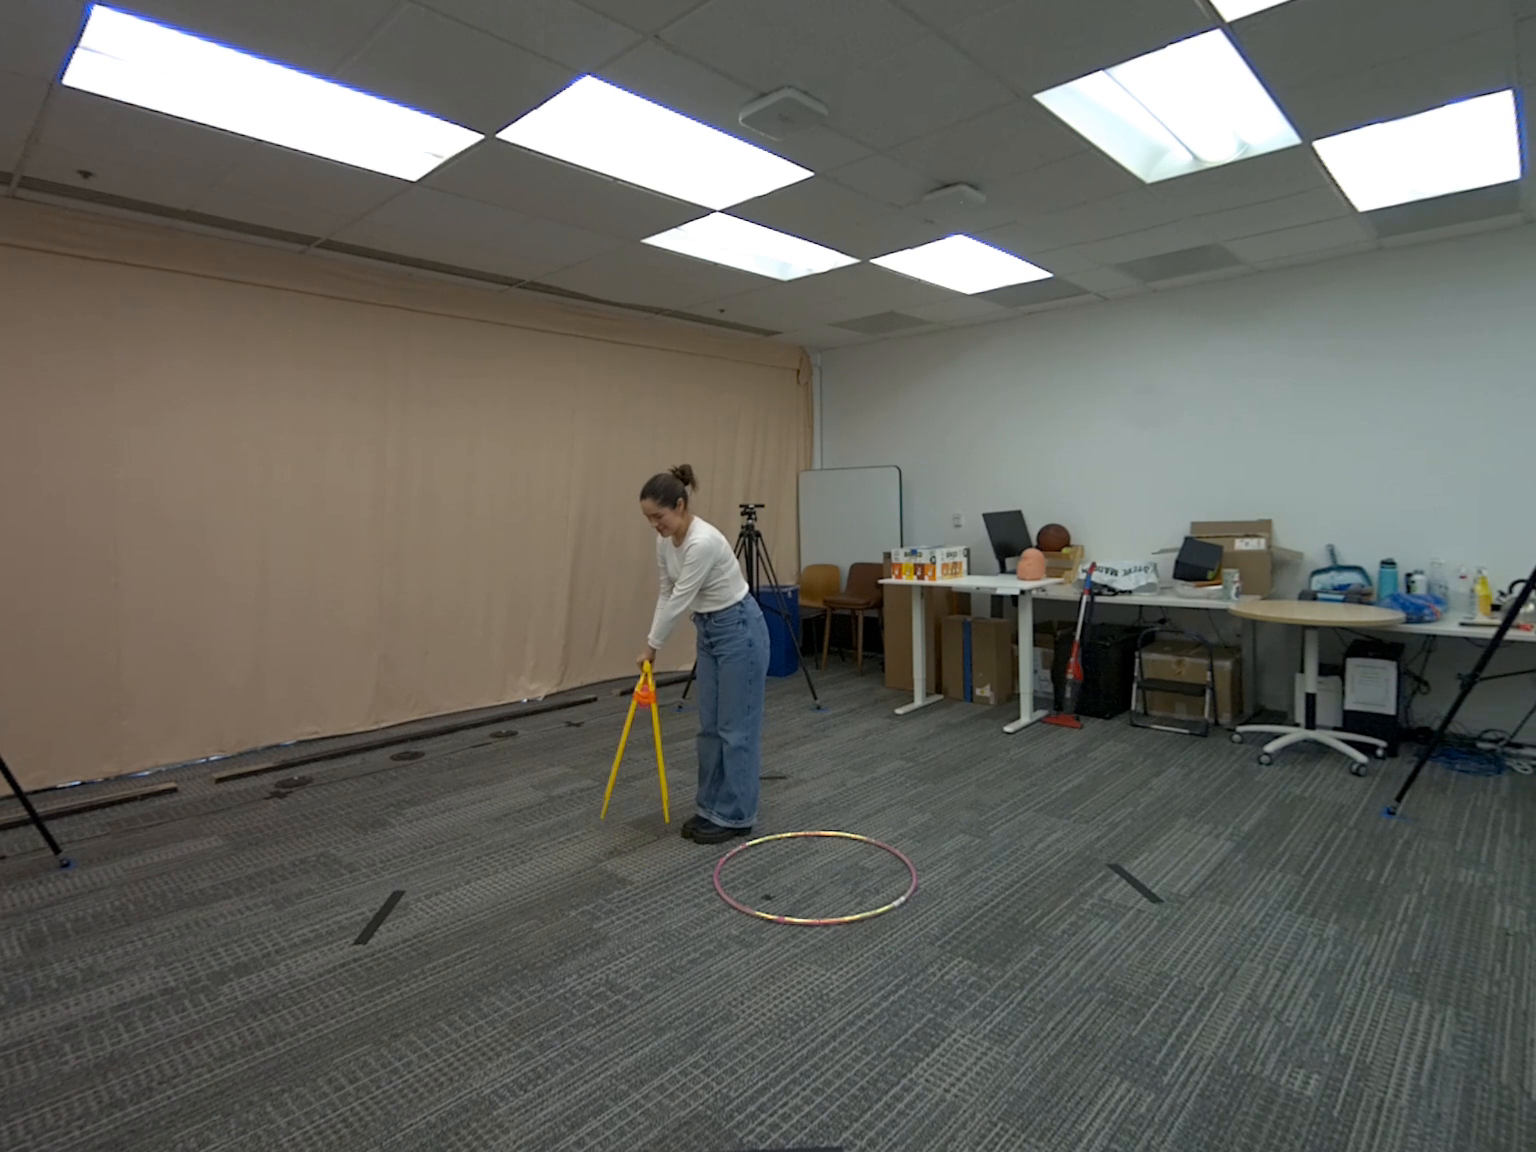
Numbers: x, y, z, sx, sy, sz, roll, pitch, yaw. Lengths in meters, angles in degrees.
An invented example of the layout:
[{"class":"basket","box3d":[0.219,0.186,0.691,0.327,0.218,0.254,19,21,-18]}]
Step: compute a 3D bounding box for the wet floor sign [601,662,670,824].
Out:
[{"class":"wet floor sign","box3d":[-0.529,0.670,3.539,0.288,0.647,0.283,4,-3,-5]}]
